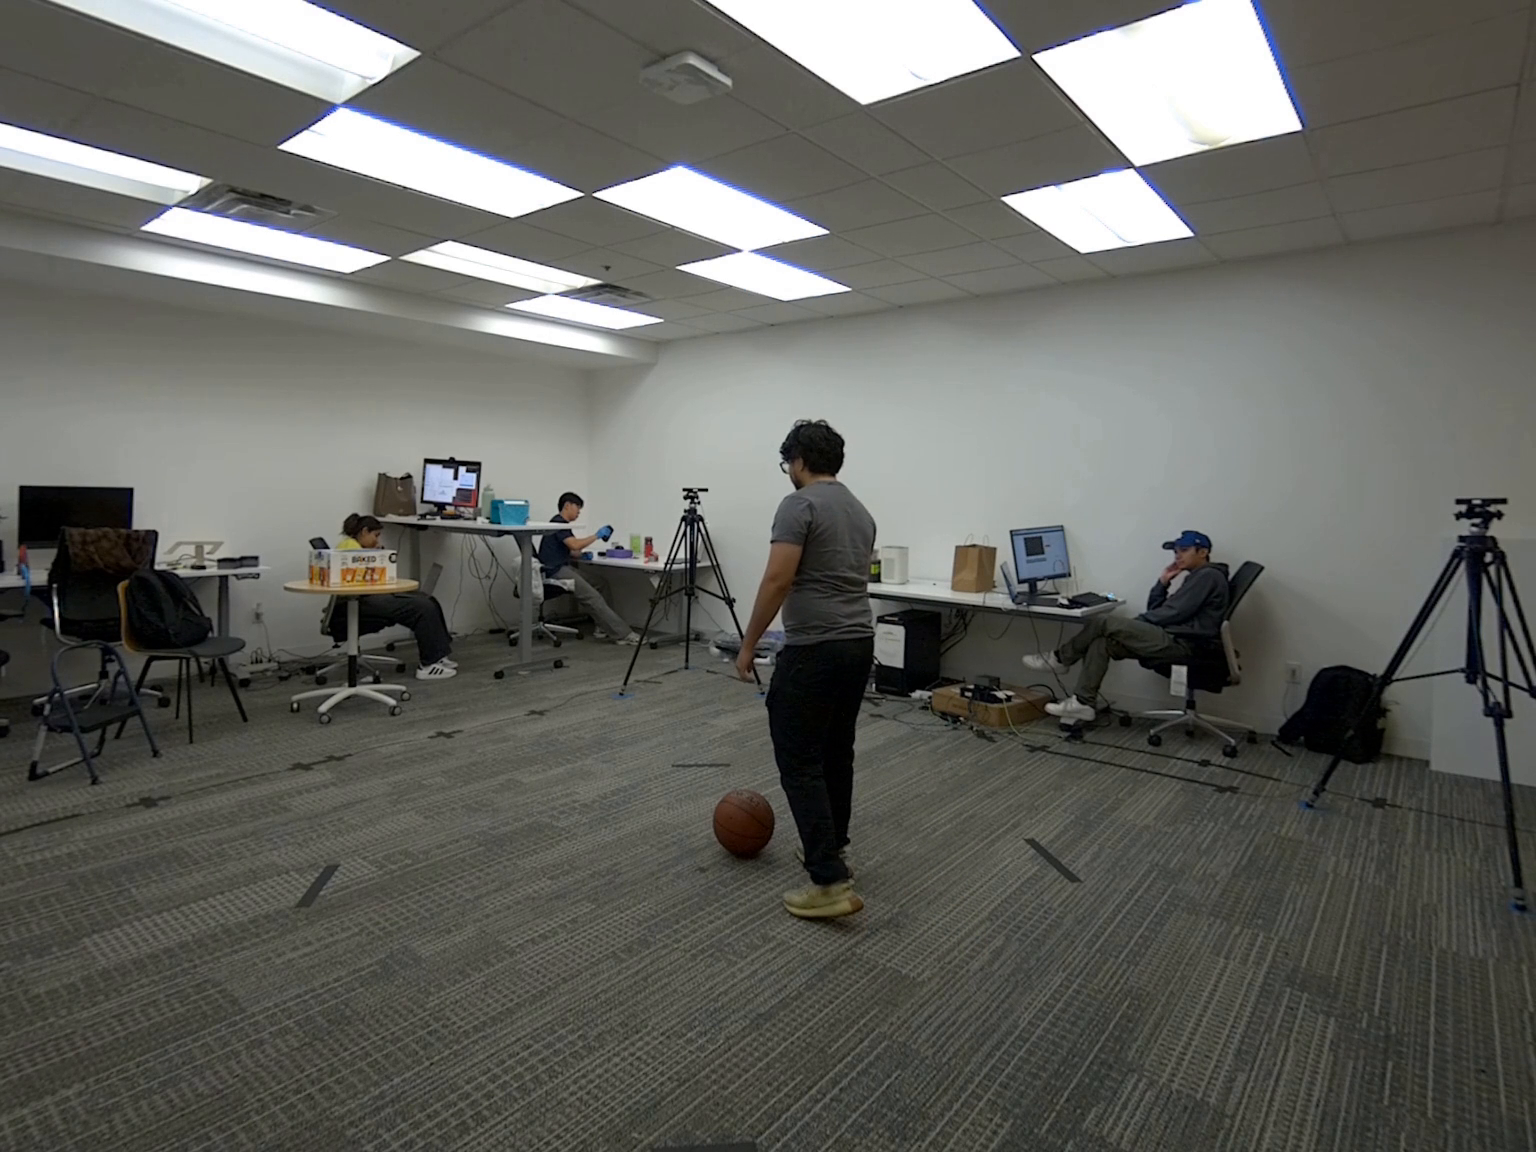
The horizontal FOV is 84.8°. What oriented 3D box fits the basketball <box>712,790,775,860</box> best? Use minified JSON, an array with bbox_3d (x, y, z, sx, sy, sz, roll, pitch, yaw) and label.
[{"bbox_3d":[-0.104,0.934,3.251,0.235,0.235,0.237,1,4,-2],"label":"basketball"}]
